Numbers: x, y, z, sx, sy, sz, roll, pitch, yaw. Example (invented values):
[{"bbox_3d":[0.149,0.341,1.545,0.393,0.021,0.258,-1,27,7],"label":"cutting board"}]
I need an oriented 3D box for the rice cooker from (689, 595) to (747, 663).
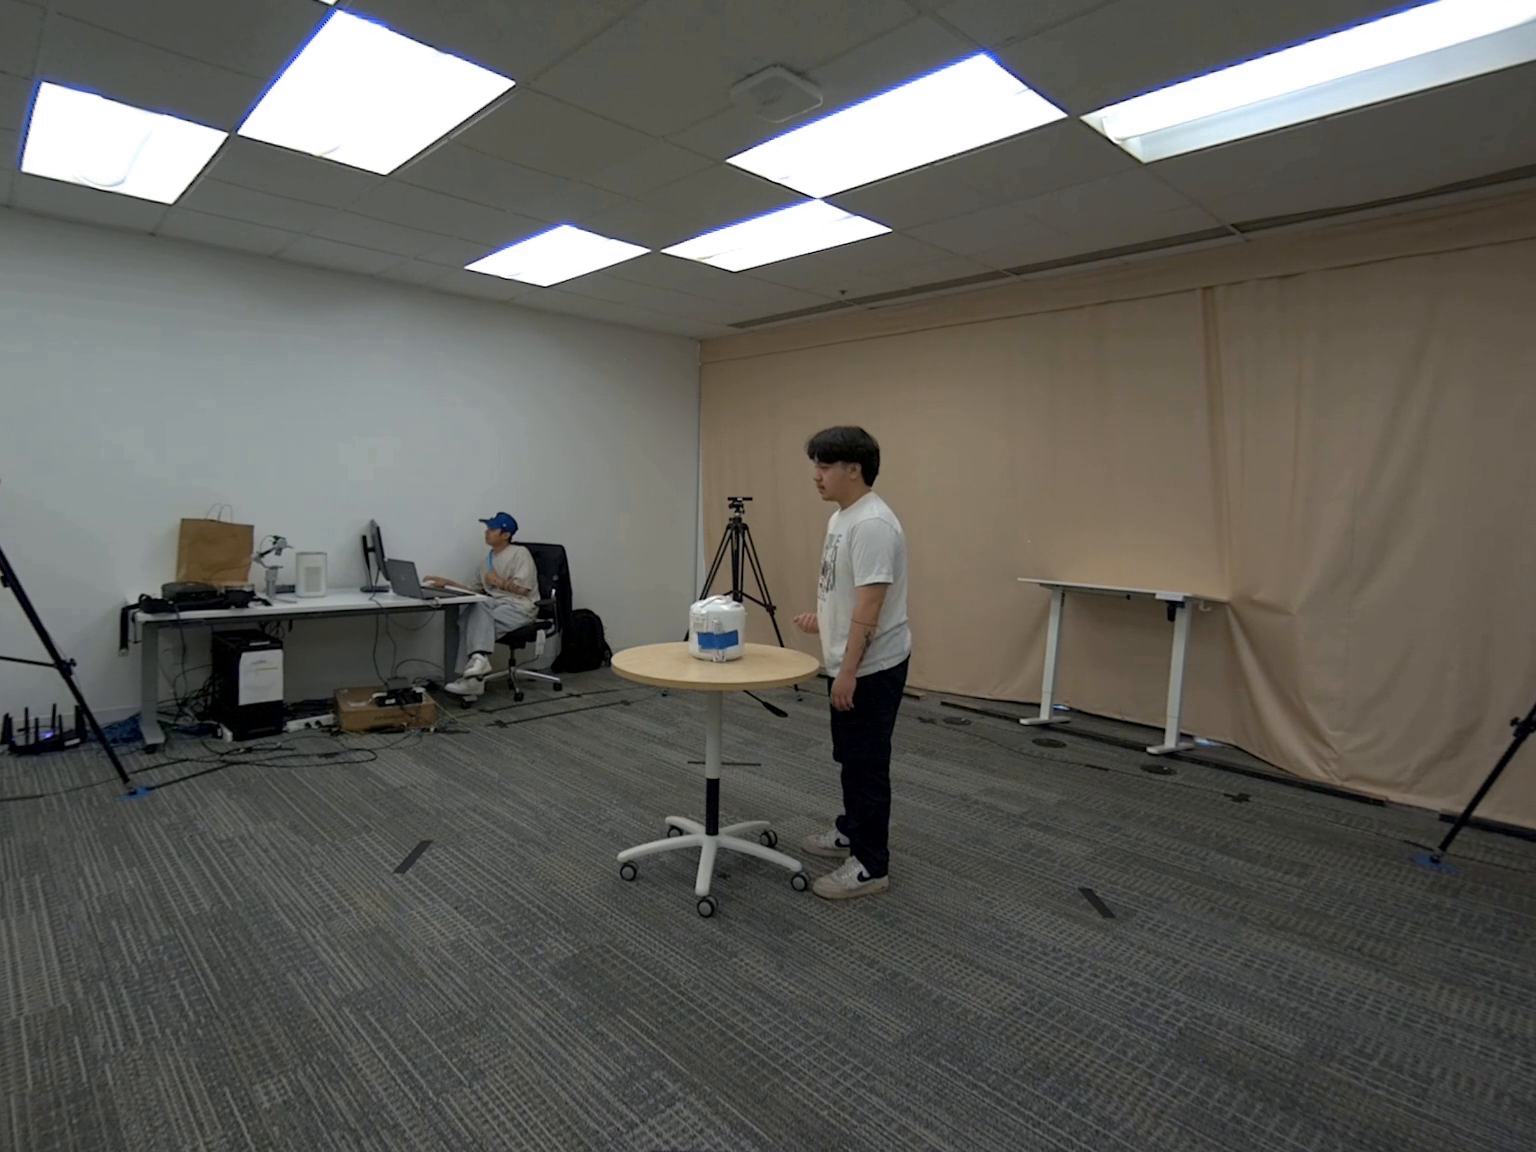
[{"bbox_3d":[-0.197,0.182,3.152,0.223,0.232,0.216,6,7,39],"label":"rice cooker"}]
